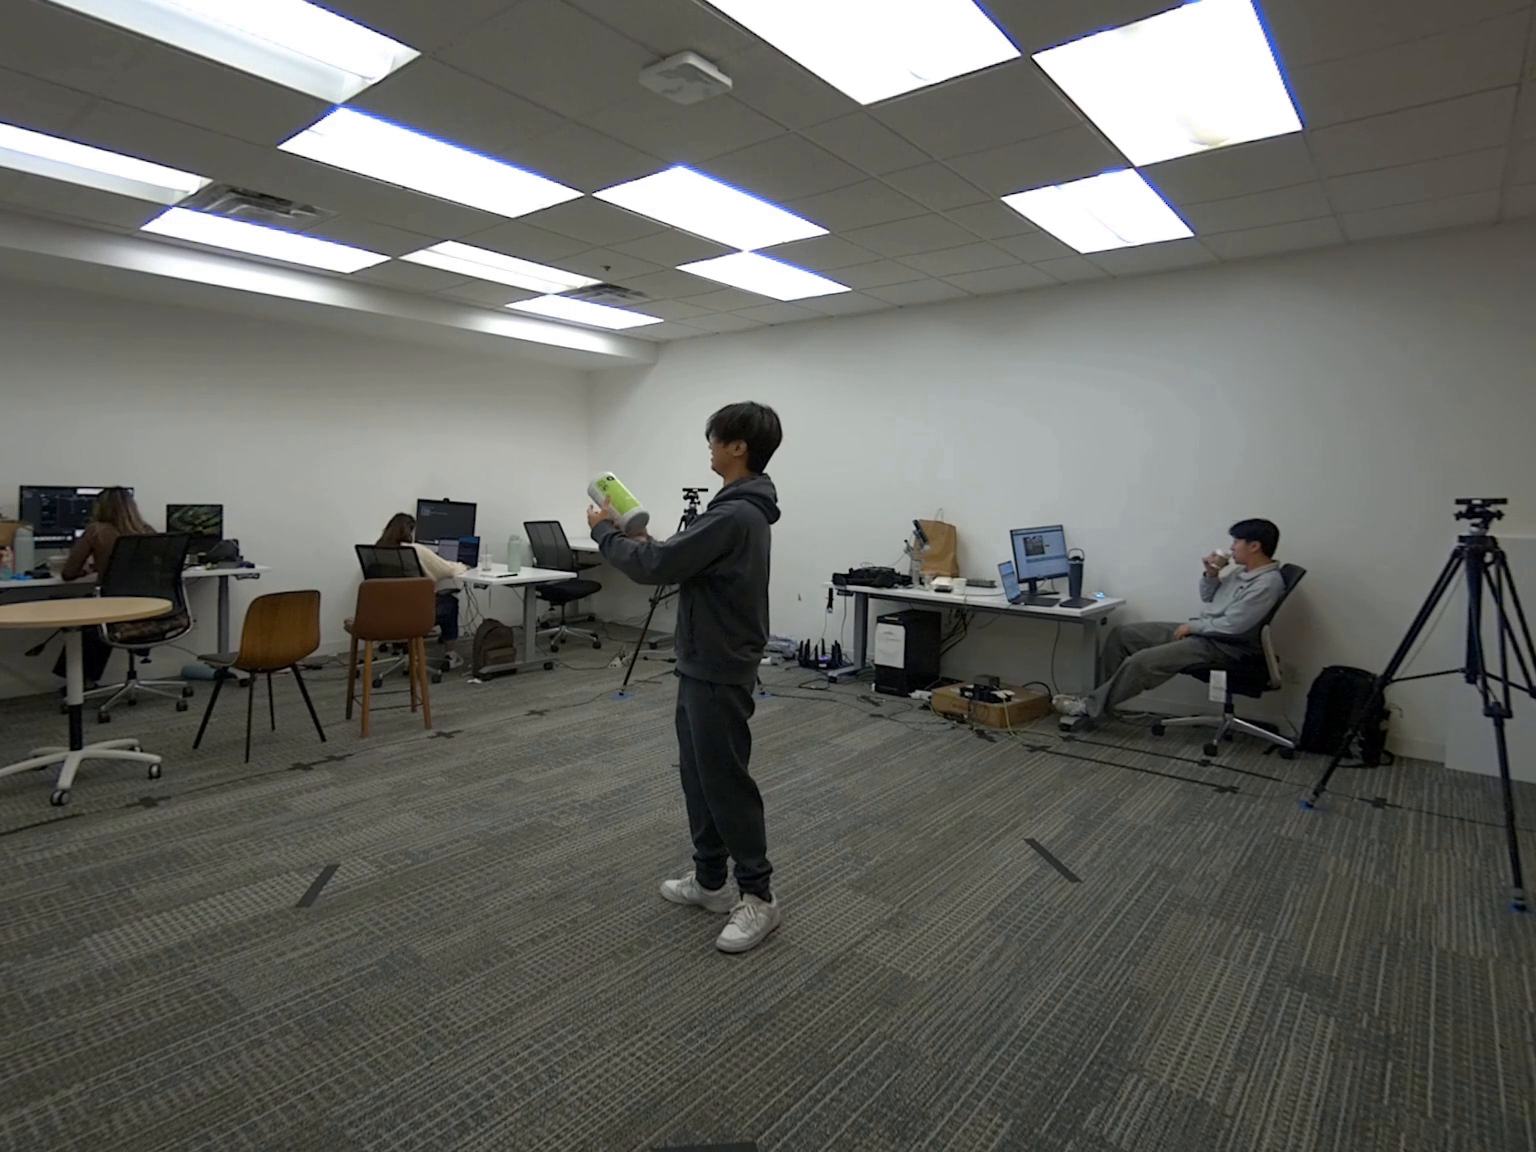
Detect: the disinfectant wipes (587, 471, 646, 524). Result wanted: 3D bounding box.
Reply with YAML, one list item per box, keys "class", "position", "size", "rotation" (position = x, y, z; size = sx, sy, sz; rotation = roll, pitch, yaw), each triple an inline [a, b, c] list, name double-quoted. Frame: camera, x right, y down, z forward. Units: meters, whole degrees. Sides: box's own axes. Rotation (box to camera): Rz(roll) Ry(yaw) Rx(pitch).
- class: "disinfectant wipes"
  position: [-0.506, -0.241, 2.790]
  size: [0.225, 0.117, 0.114]
  rotation: [46, 27, 25]
